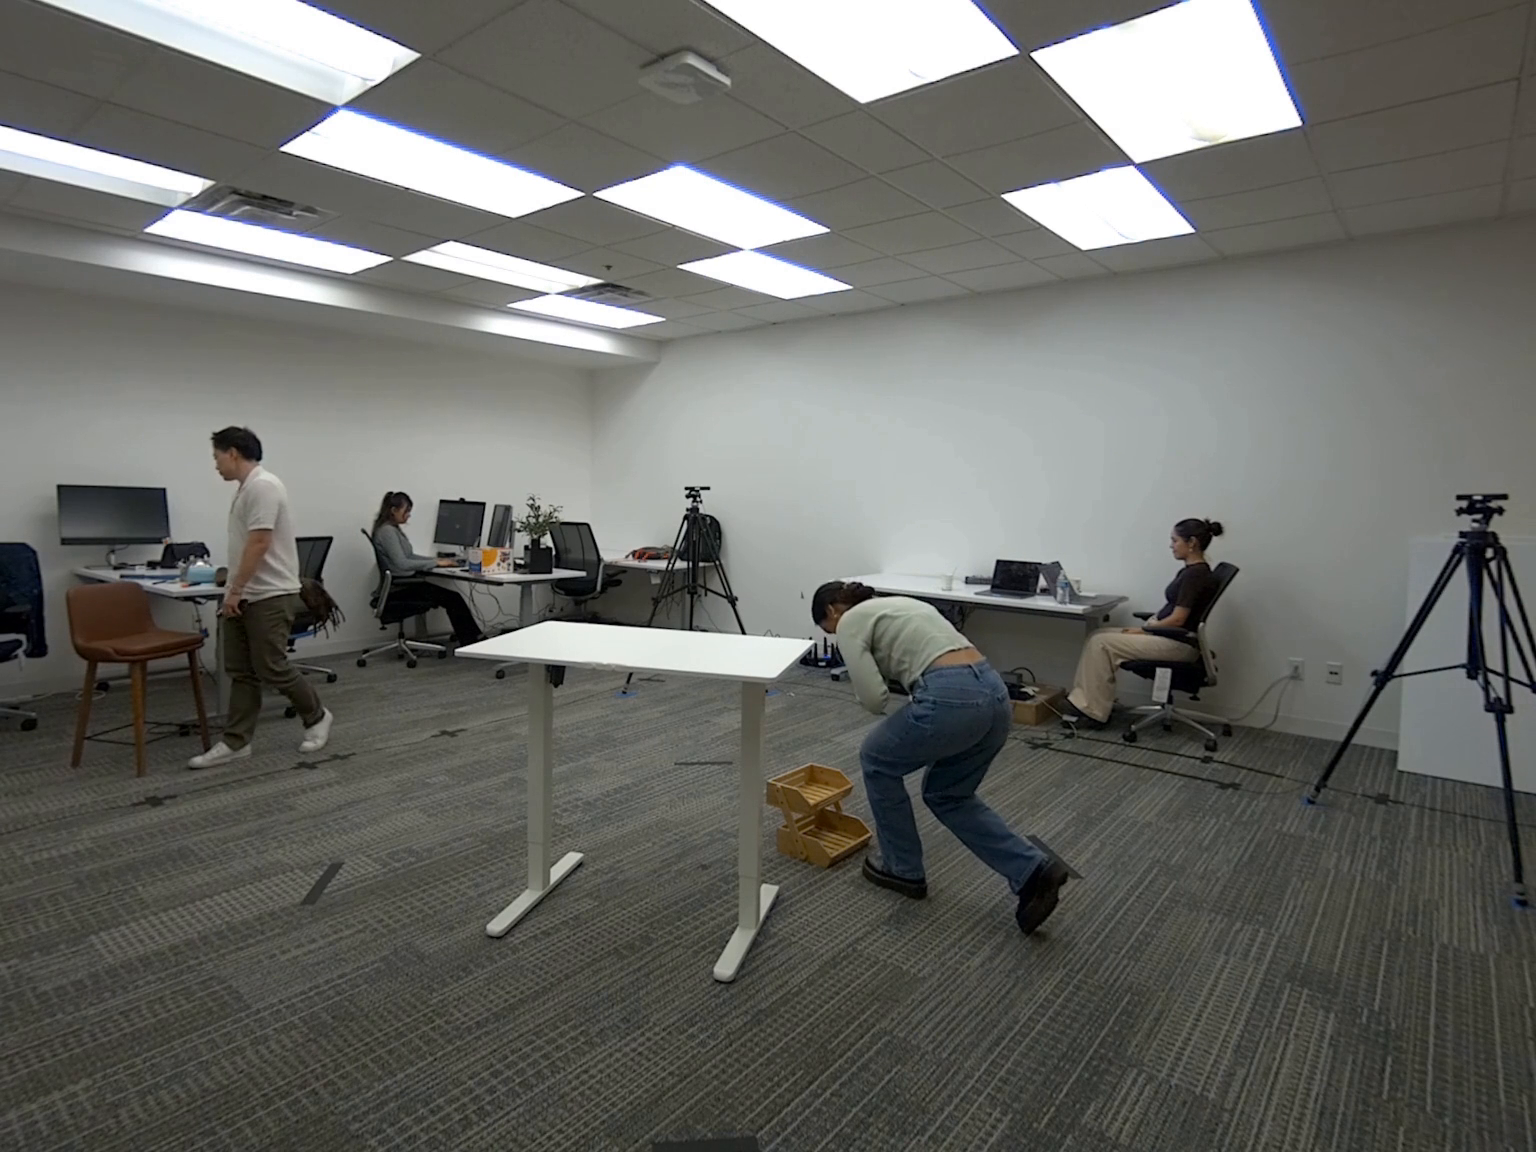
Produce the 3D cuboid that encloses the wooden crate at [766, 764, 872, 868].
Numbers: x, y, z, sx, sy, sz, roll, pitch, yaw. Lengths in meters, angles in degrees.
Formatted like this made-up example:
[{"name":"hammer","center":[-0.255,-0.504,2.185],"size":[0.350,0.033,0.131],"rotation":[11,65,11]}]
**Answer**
[{"name":"wooden crate","center":[0.195,0.916,3.317],"size":[0.312,0.272,0.315],"rotation":[3,5,39]}]
